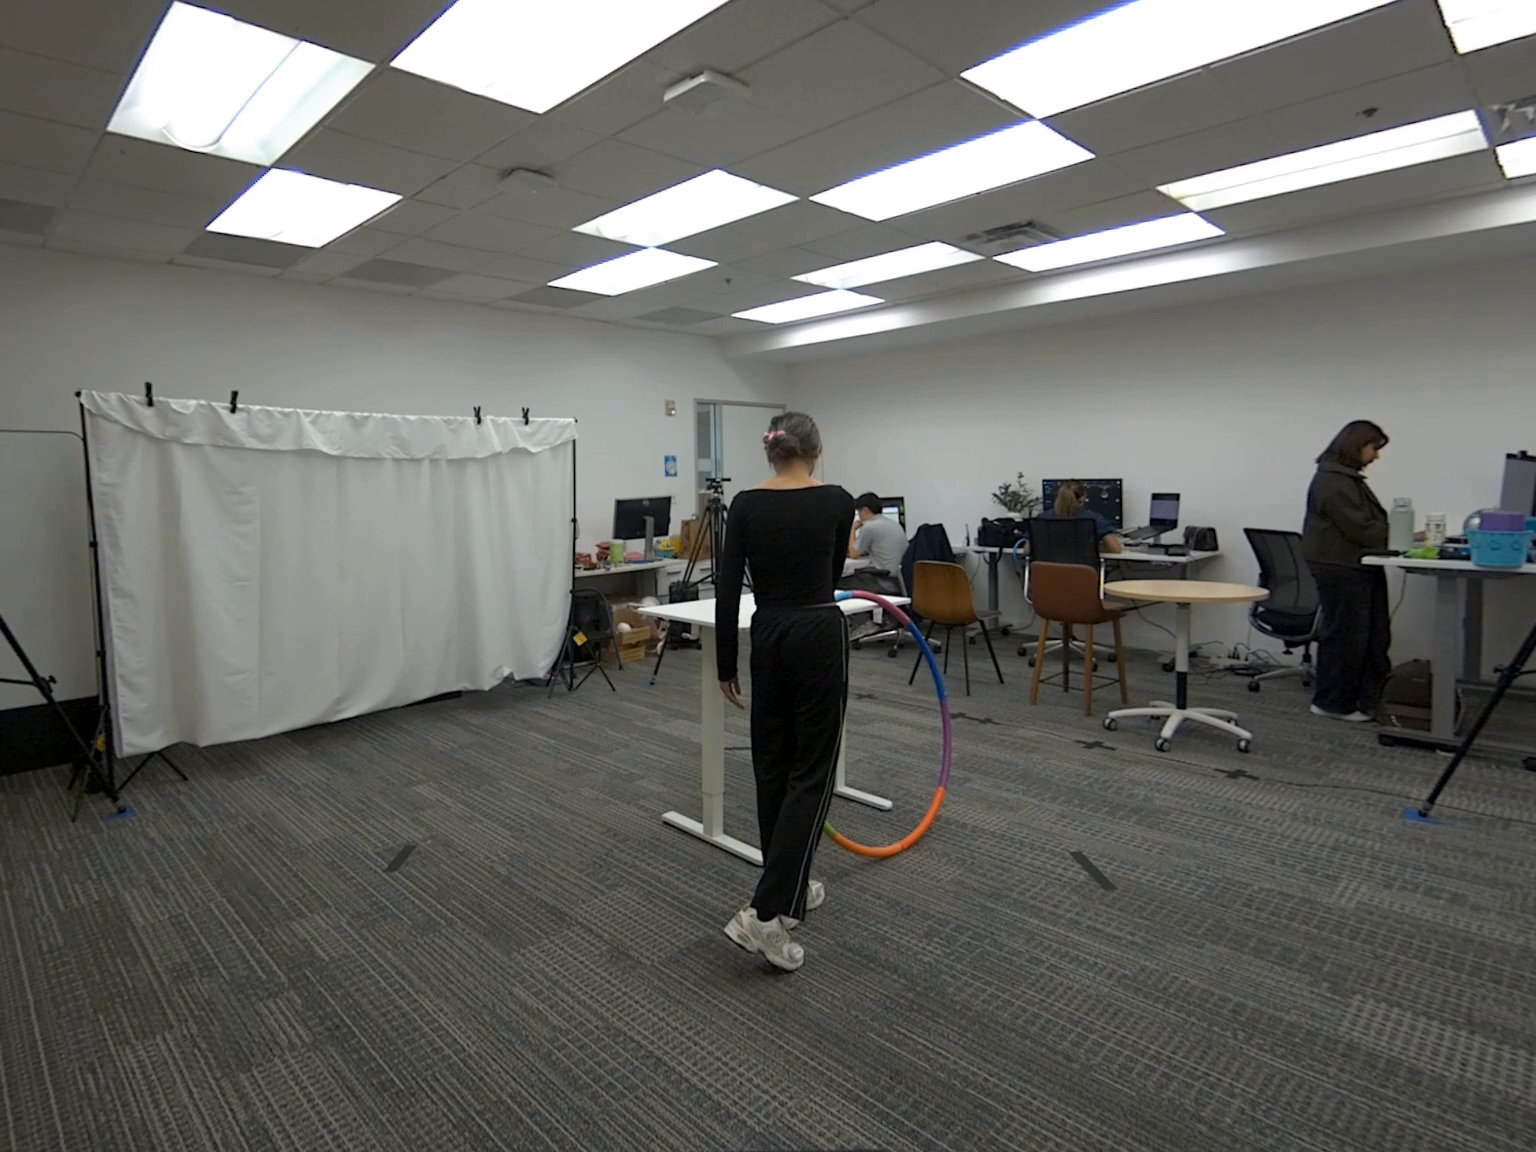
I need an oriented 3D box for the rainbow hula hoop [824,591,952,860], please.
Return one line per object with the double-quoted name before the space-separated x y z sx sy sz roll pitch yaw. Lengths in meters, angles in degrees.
"rainbow hula hoop" 0.404 0.546 3.251 0.953 0.987 0.036 -6 -10 -44
